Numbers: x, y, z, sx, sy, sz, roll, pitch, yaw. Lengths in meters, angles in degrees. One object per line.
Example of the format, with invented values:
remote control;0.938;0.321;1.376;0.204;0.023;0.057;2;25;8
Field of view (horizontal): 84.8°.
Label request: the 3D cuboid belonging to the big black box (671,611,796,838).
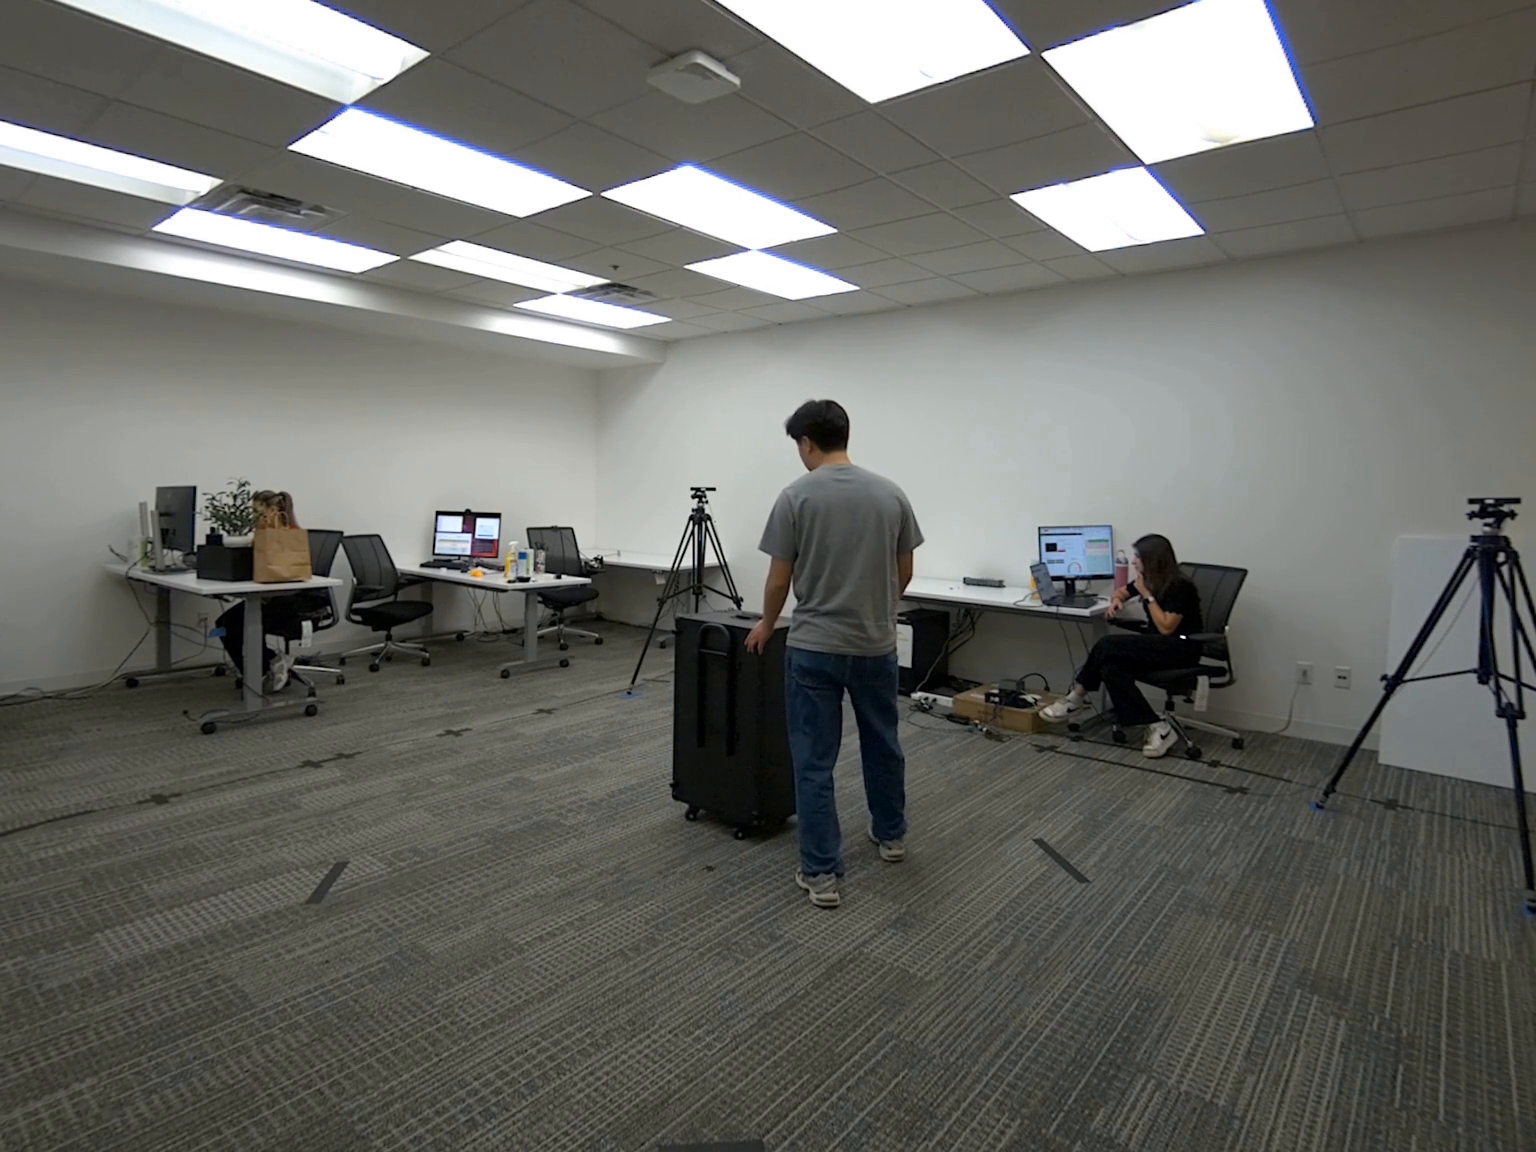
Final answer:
big black box;-0.116;0.602;3.551;0.539;0.859;0.384;4;5;39
